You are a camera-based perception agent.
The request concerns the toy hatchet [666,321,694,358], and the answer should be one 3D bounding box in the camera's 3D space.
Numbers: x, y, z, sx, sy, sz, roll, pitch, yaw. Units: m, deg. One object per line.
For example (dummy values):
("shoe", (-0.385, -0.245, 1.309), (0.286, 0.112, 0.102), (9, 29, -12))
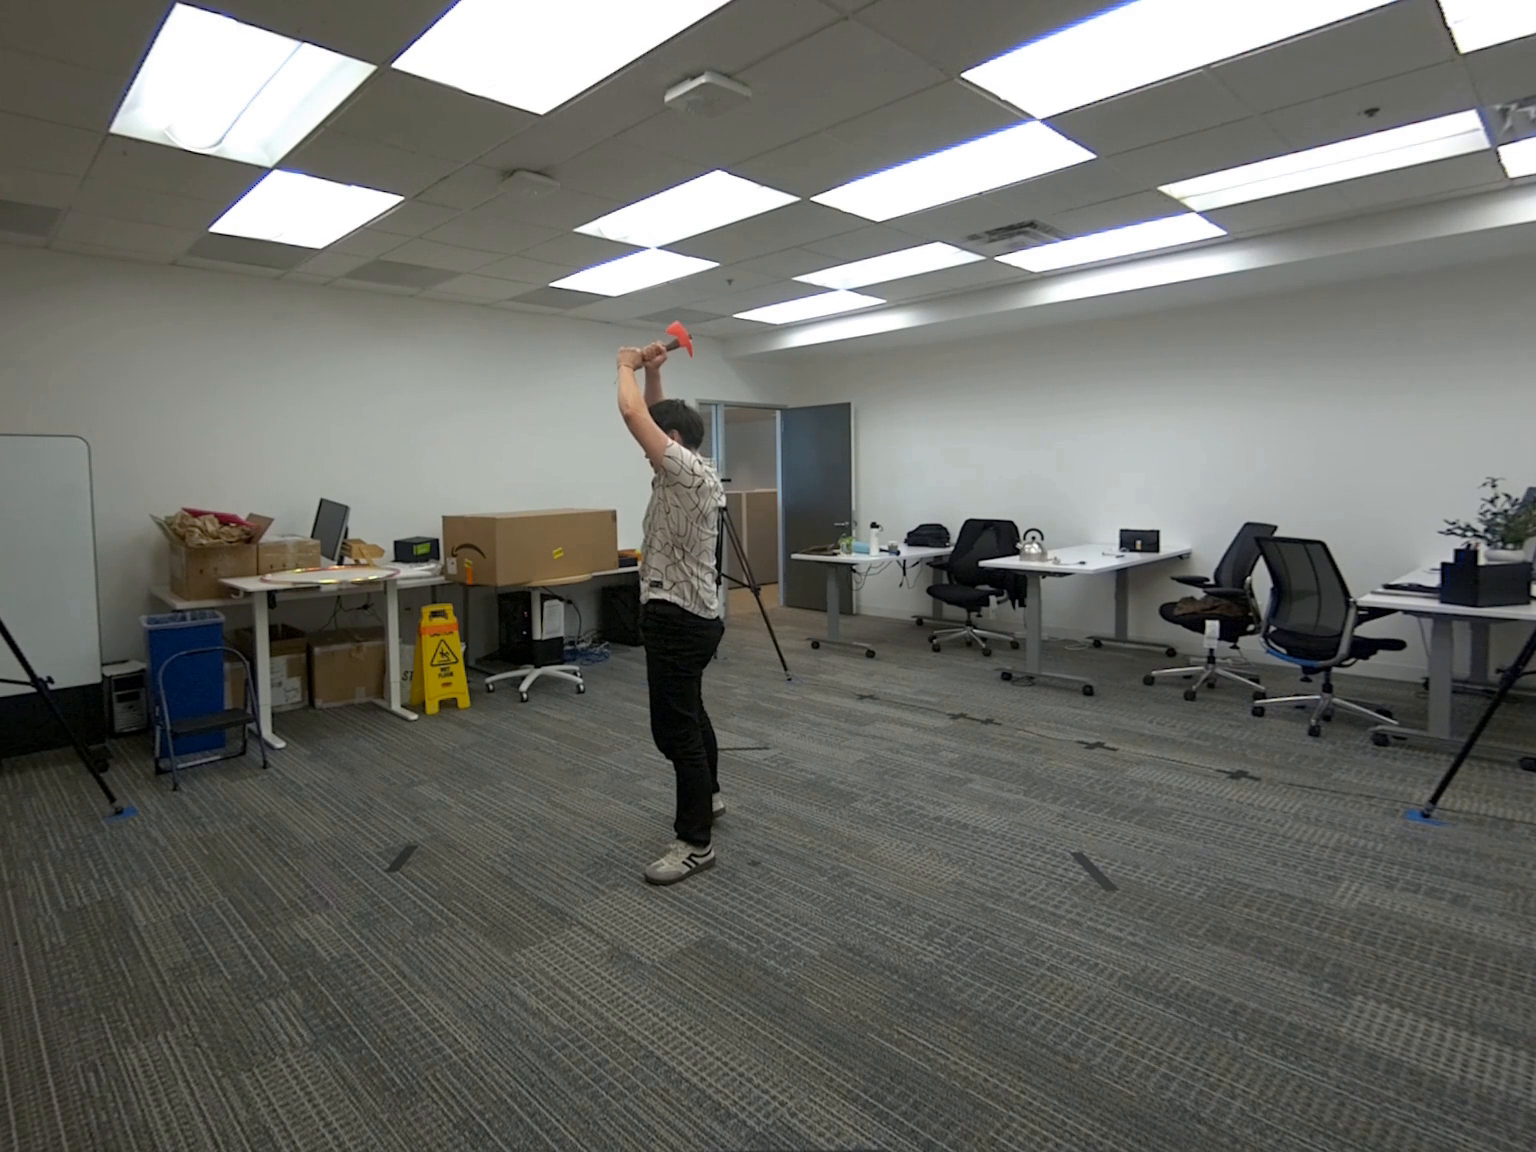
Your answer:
("toy hatchet", (-0.413, -0.845, 3.083), (0.270, 0.129, 0.030), (-5, 11, -1))
